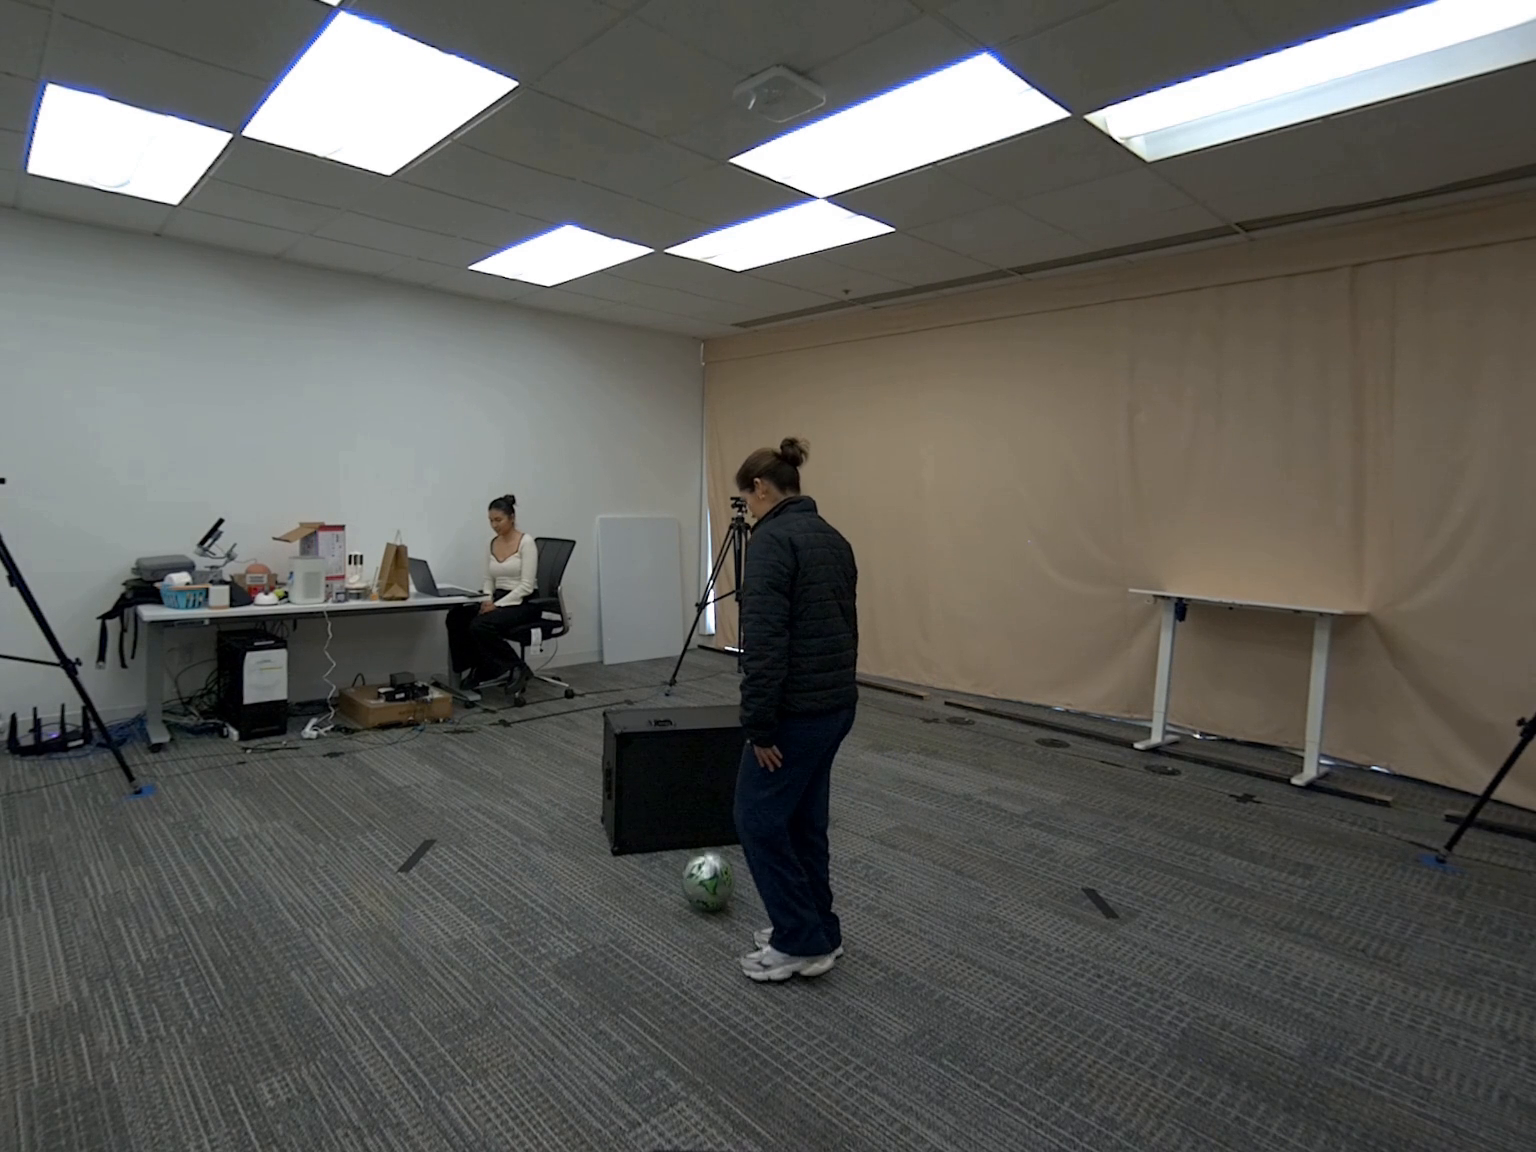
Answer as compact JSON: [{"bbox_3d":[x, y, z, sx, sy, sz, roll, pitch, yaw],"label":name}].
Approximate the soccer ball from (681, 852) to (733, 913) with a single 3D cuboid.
[{"bbox_3d":[-0.216,1.033,2.858,0.187,0.187,0.188,1,4,-1],"label":"soccer ball"}]
